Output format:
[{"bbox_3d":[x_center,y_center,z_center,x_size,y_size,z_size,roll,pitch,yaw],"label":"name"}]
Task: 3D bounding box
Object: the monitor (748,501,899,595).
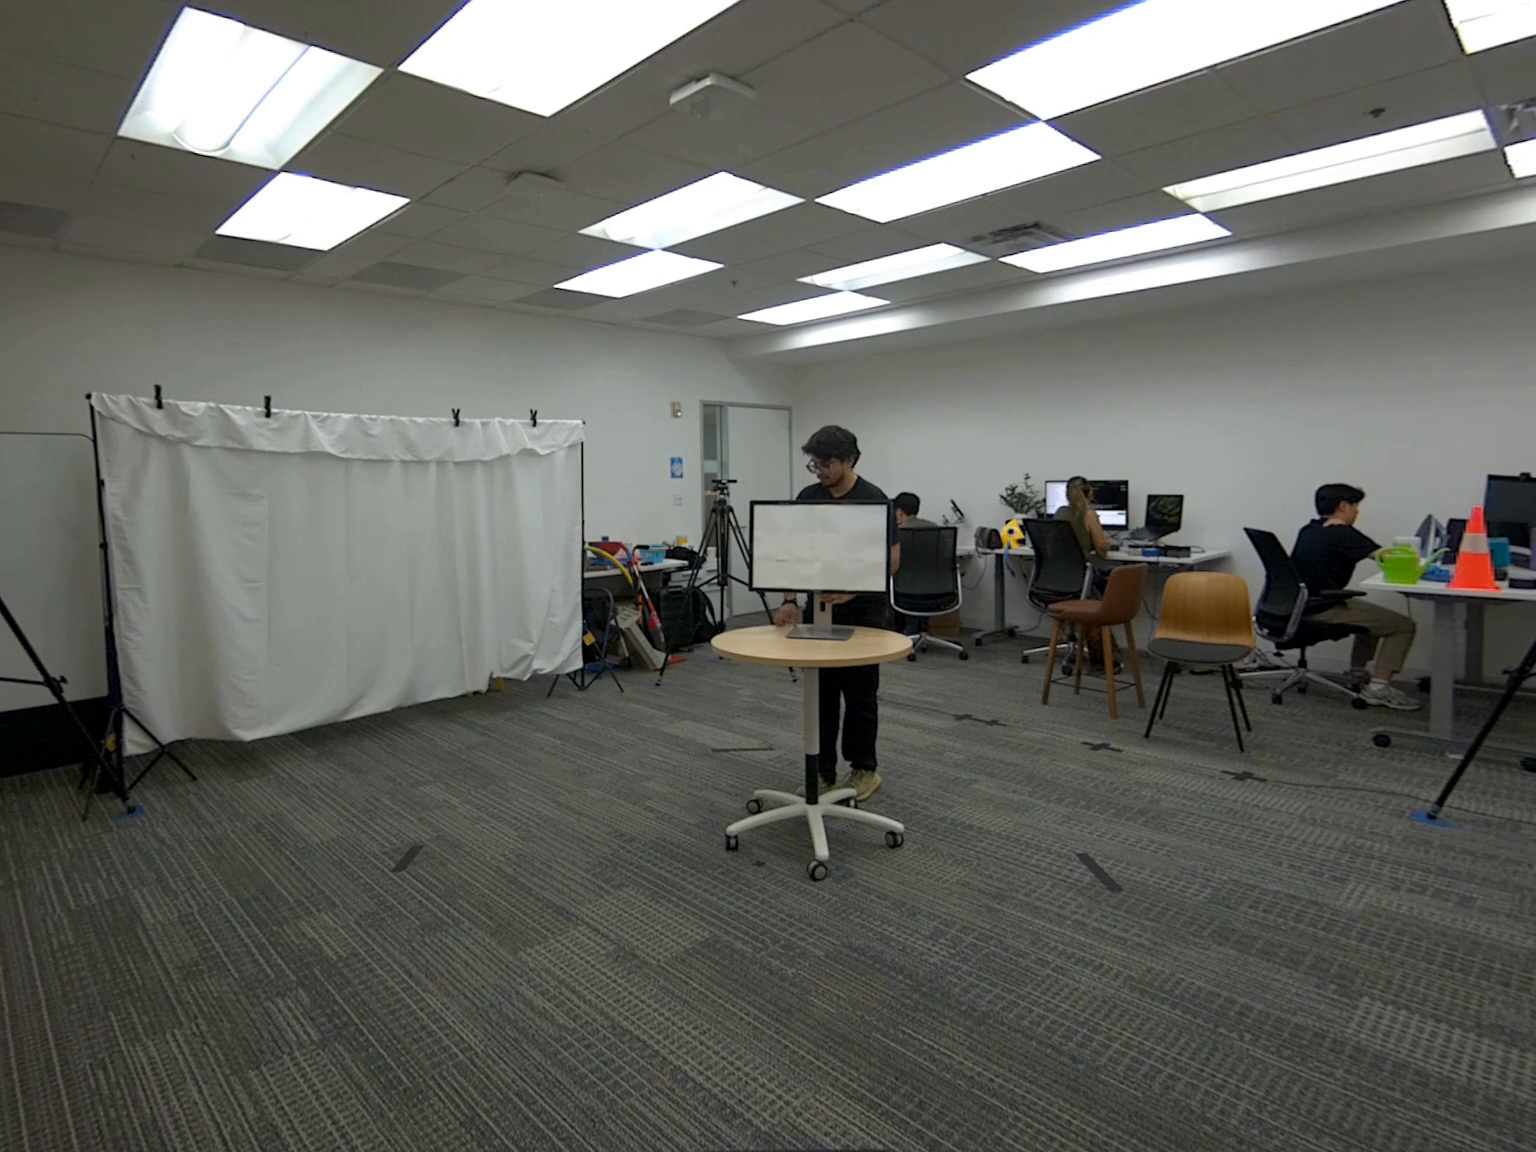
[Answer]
[{"bbox_3d":[0.213,-0.028,3.397,0.575,0.553,0.207,1,1,17],"label":"monitor"}]
